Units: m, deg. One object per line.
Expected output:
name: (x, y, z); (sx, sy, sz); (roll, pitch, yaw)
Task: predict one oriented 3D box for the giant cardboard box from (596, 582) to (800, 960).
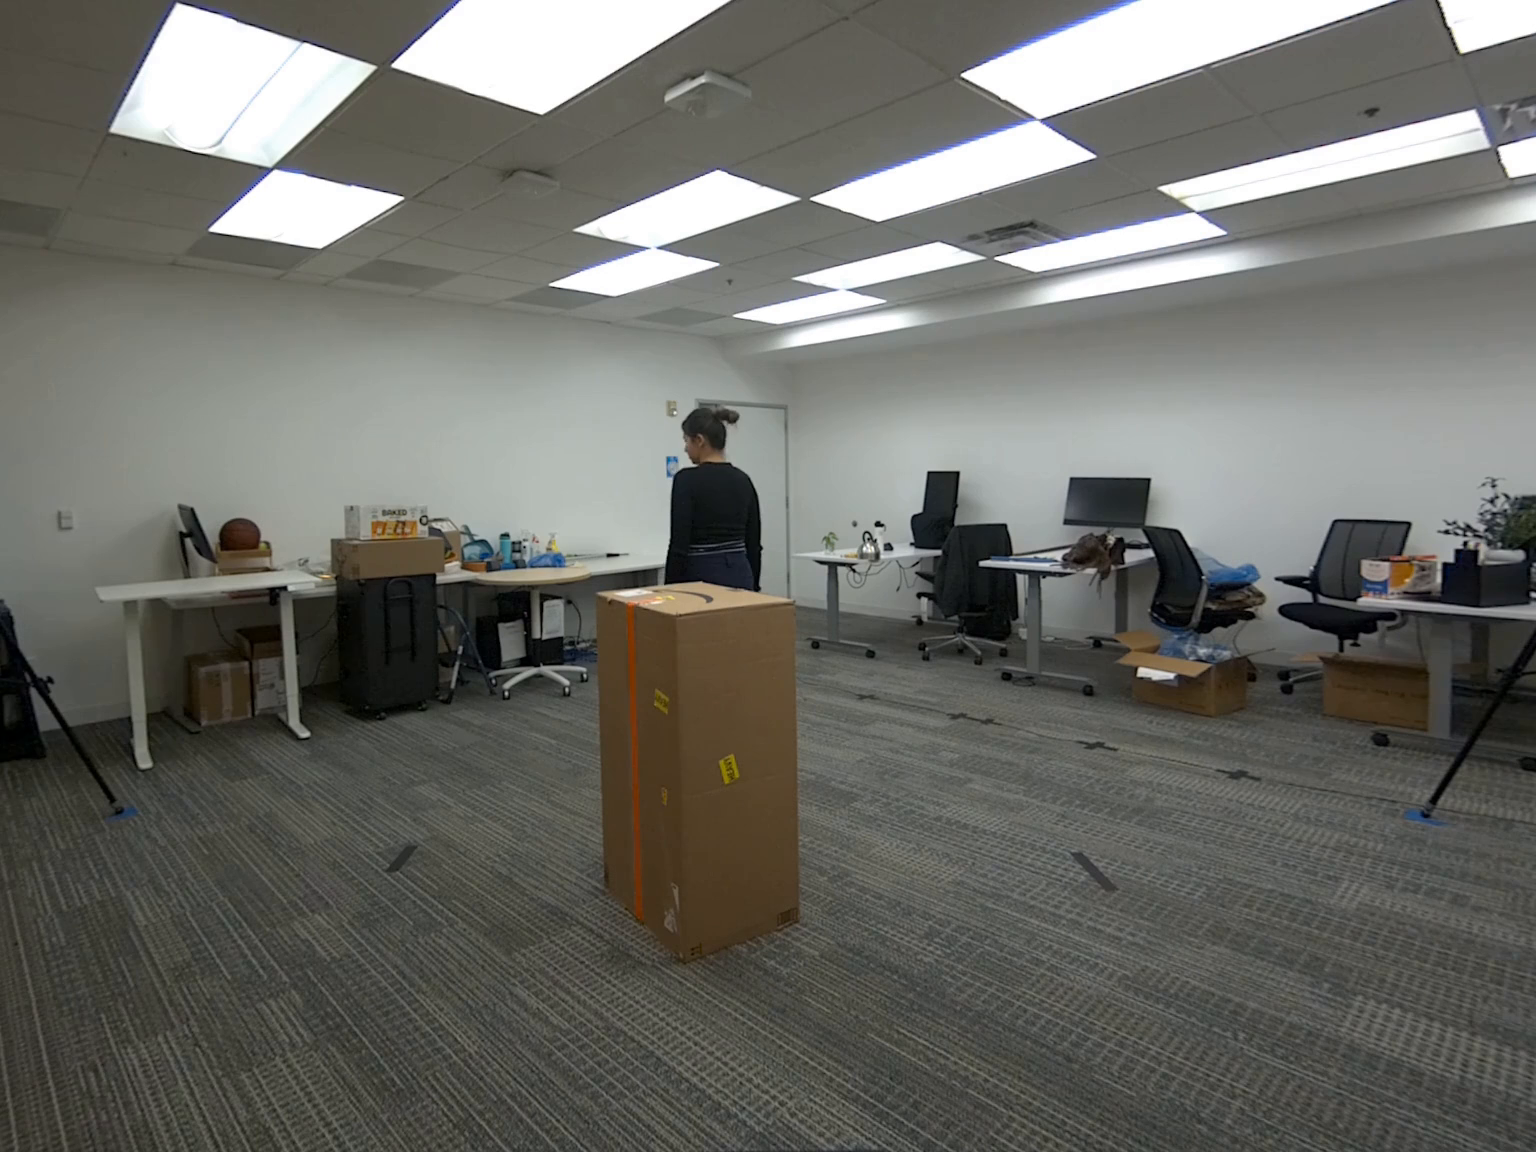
giant cardboard box: (-0.242, 0.578, 2.786); (0.415, 1.022, 0.594); (-3, 5, -34)
